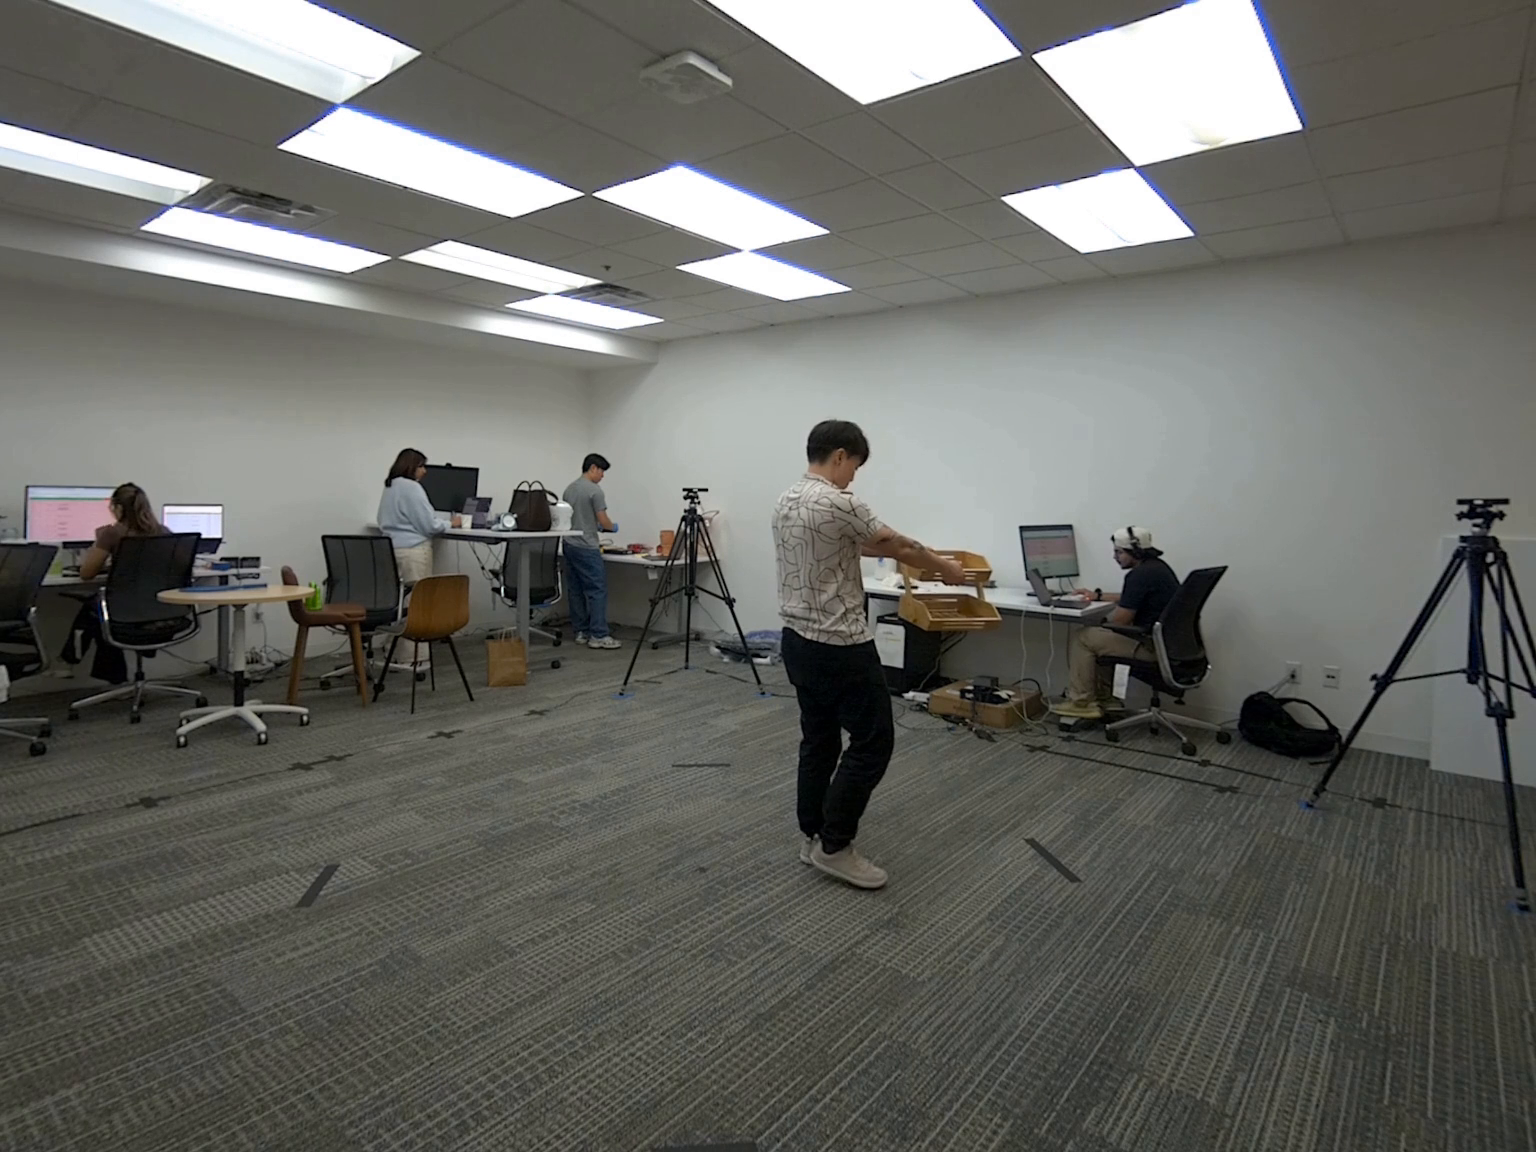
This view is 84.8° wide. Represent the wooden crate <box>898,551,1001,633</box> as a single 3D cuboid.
[{"bbox_3d":[0.697,0.047,3.292,0.319,0.271,0.310,1,10,-18],"label":"wooden crate"}]
